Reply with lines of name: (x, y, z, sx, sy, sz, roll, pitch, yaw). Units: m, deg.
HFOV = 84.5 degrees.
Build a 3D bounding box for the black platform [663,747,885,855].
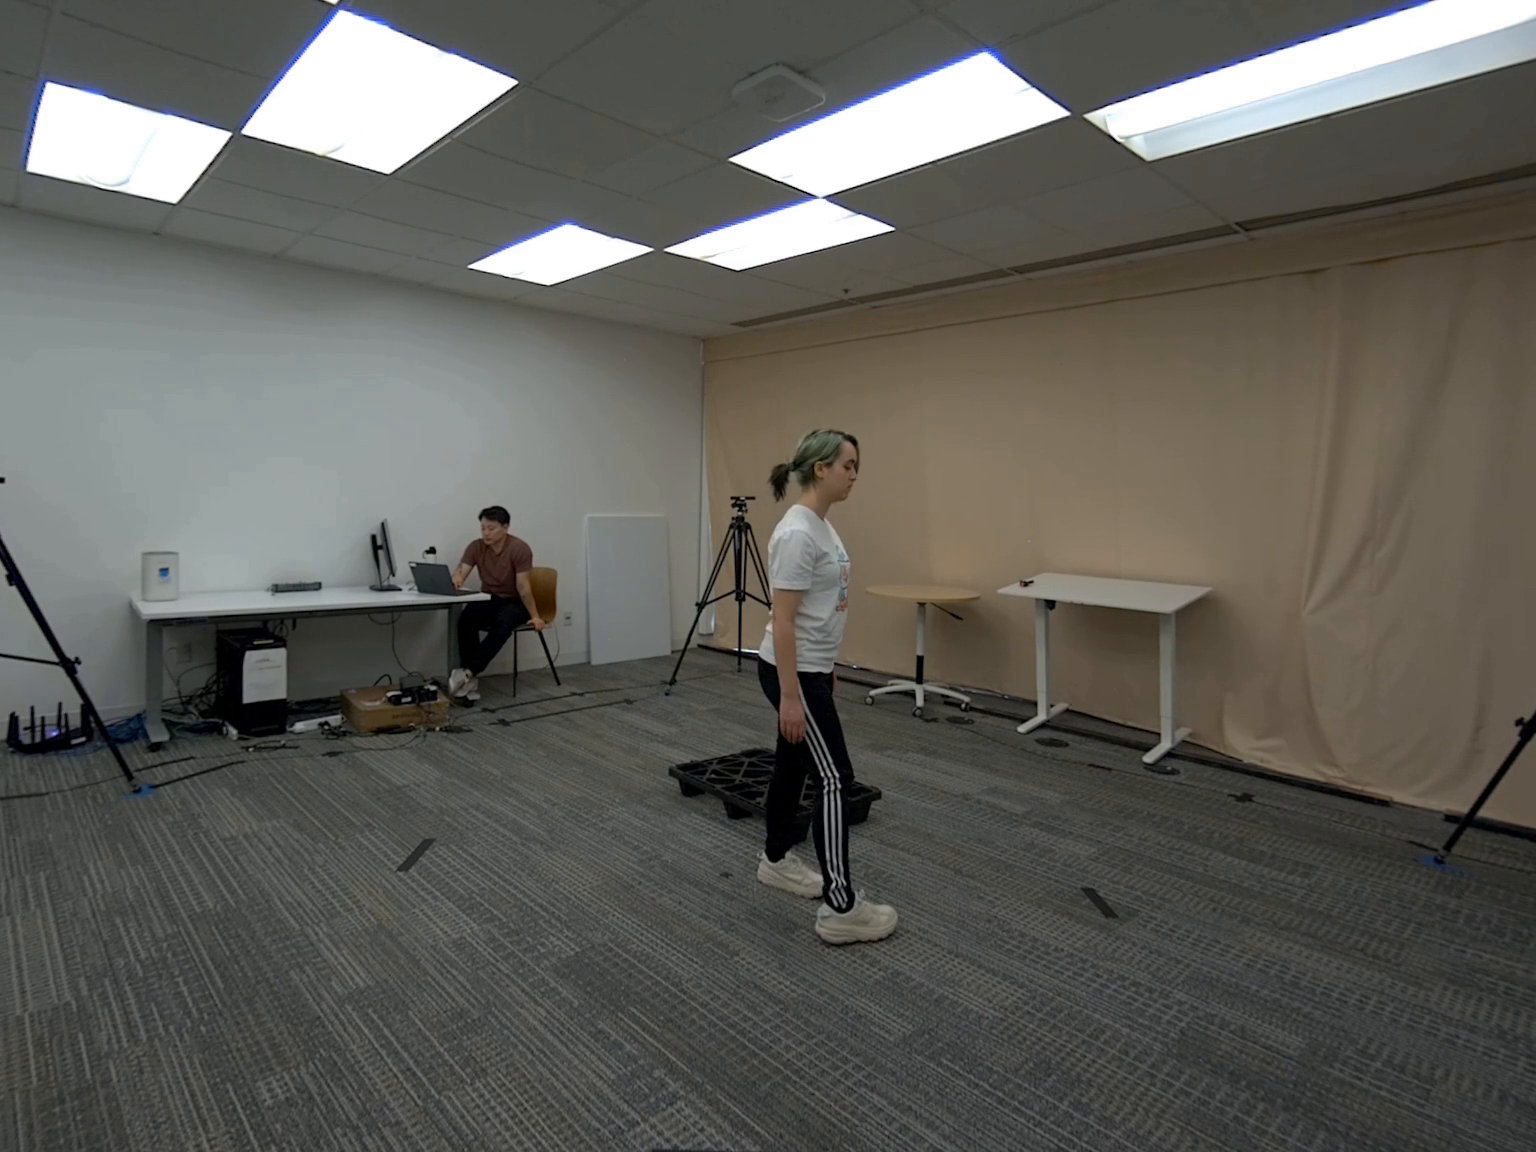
black platform: (0.007, 0.985, 3.799, 0.591, 0.143, 0.826, -3, 7, -40)
